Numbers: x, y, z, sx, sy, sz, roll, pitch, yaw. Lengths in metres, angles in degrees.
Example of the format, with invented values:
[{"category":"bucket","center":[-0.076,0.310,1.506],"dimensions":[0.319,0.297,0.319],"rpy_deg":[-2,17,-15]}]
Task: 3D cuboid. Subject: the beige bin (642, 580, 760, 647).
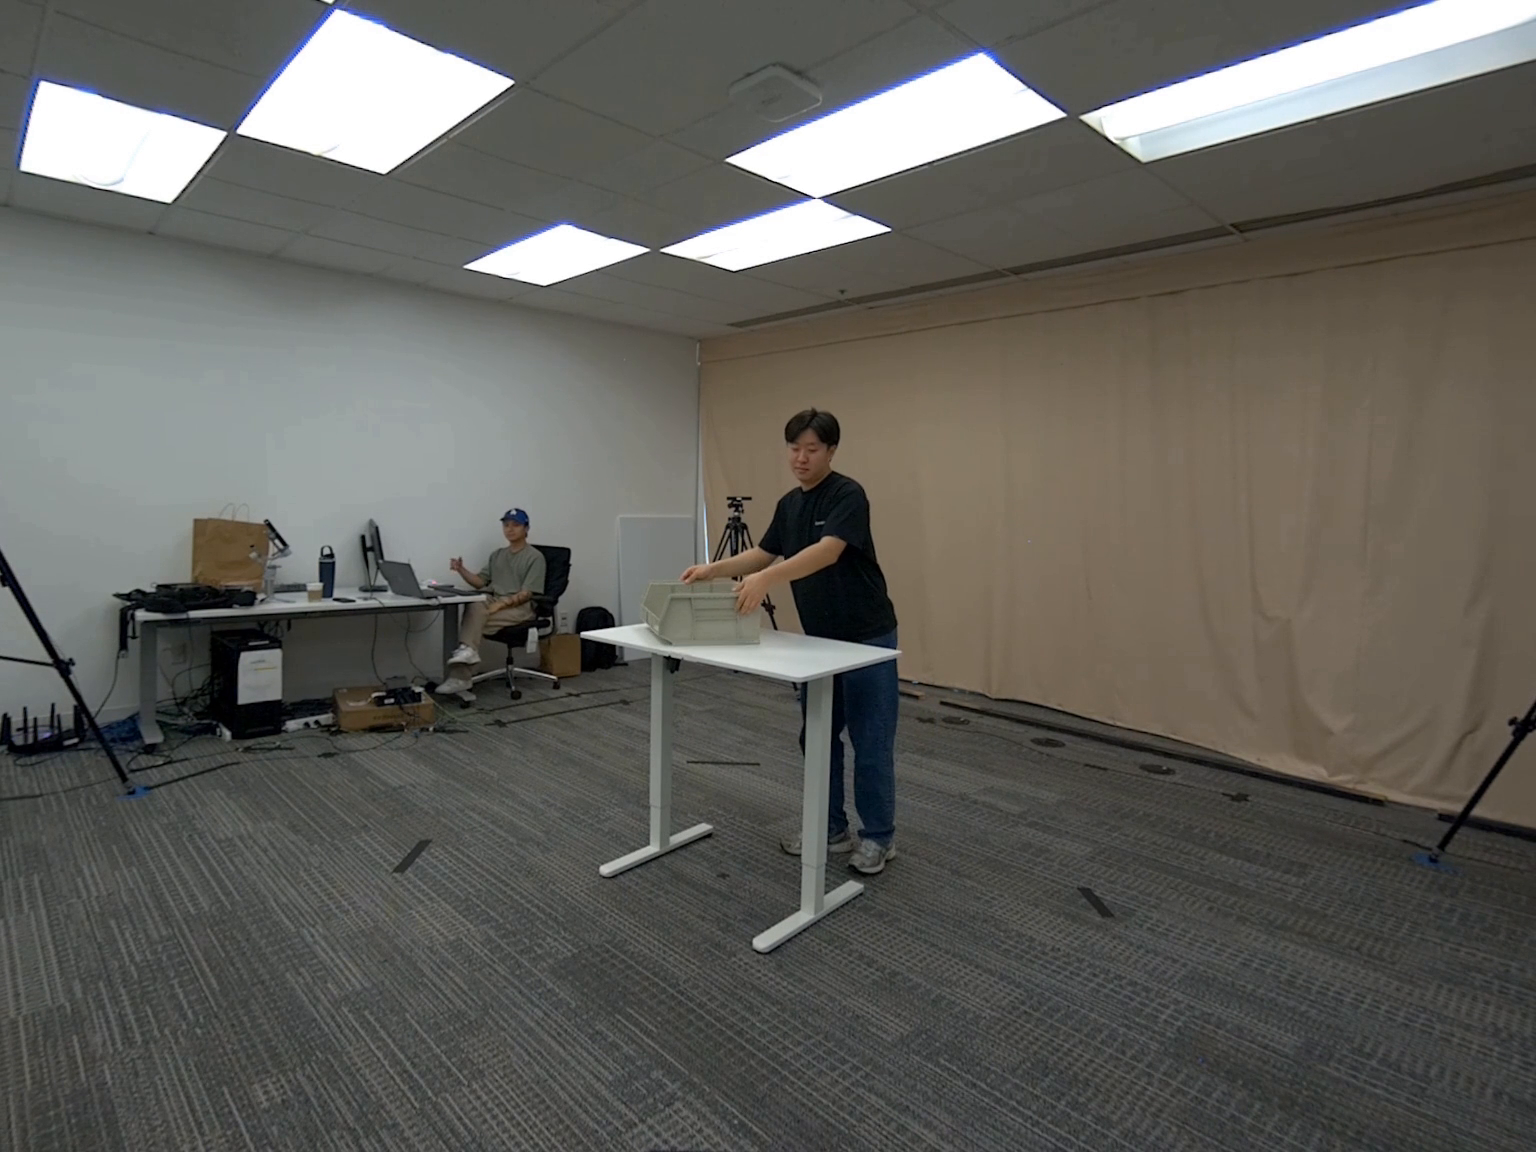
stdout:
[{"category":"beige bin","center":[-0.259,0.131,3.092],"dimensions":[0.372,0.188,0.429],"rpy_deg":[0,4,-17]}]
